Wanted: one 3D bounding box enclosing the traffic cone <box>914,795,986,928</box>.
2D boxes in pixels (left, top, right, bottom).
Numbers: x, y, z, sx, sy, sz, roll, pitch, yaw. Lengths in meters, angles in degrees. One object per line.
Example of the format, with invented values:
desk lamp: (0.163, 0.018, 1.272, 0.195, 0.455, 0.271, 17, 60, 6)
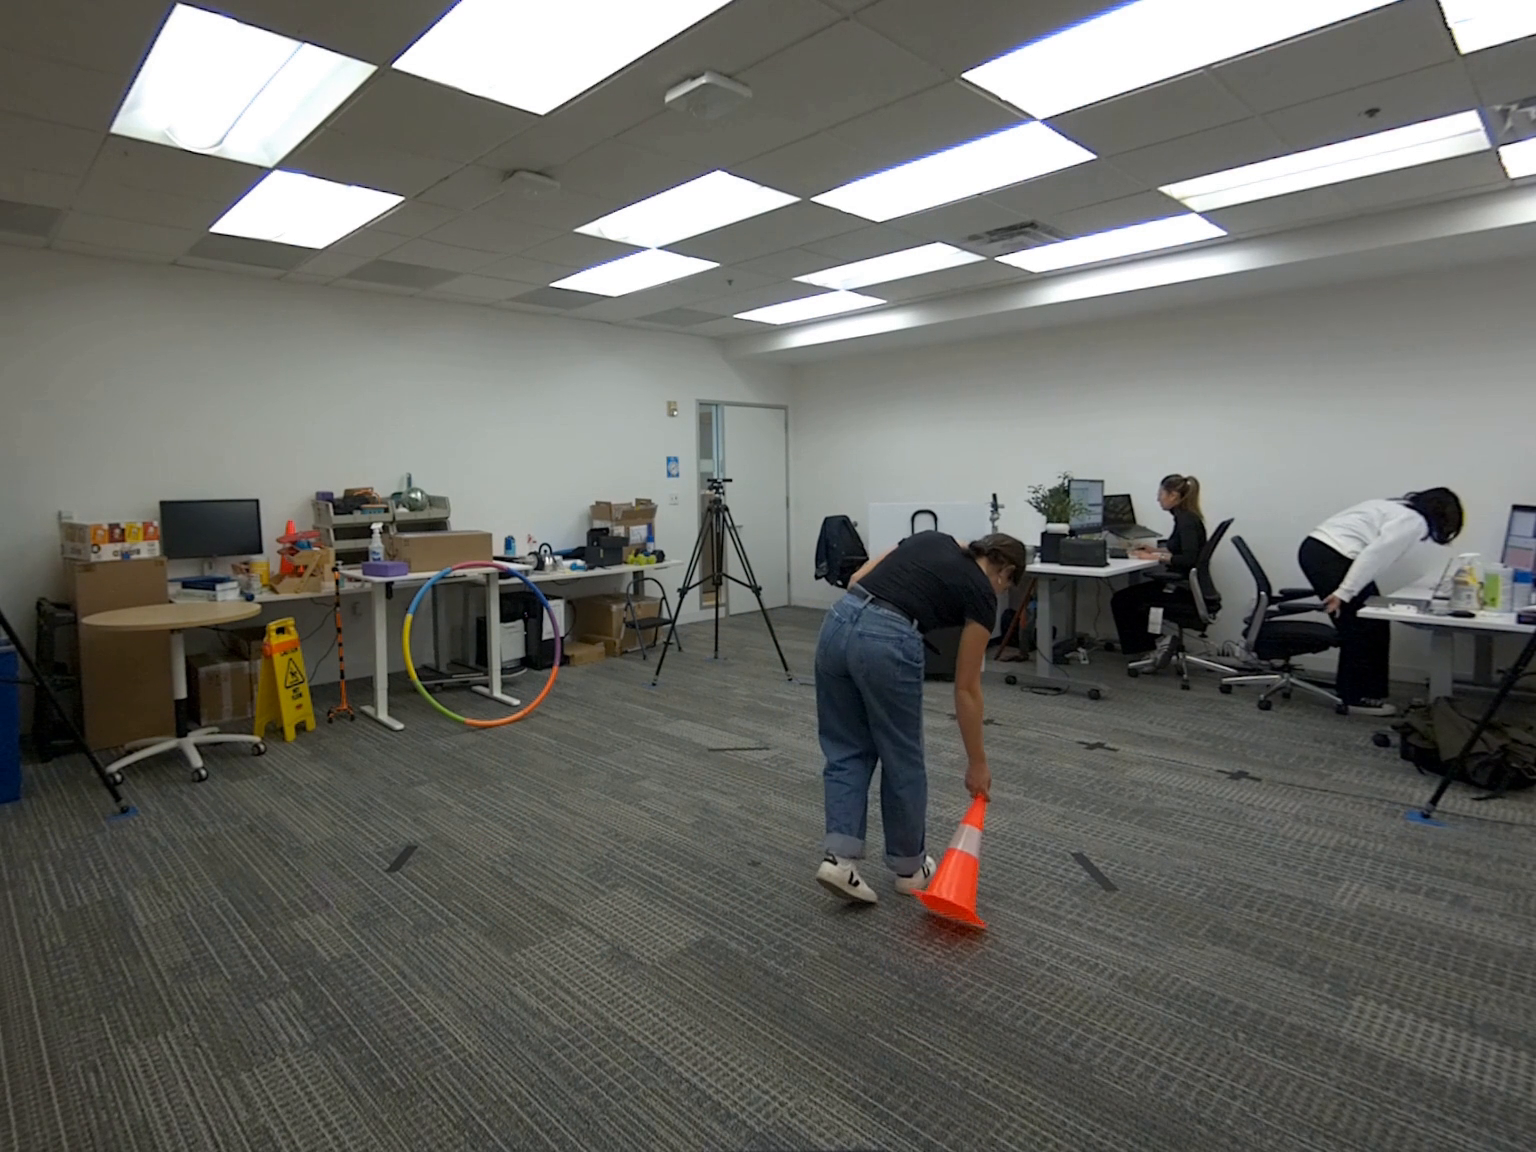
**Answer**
traffic cone: (0.625, 0.874, 2.714, 0.209, 0.388, 0.197, -5, -37, 42)
